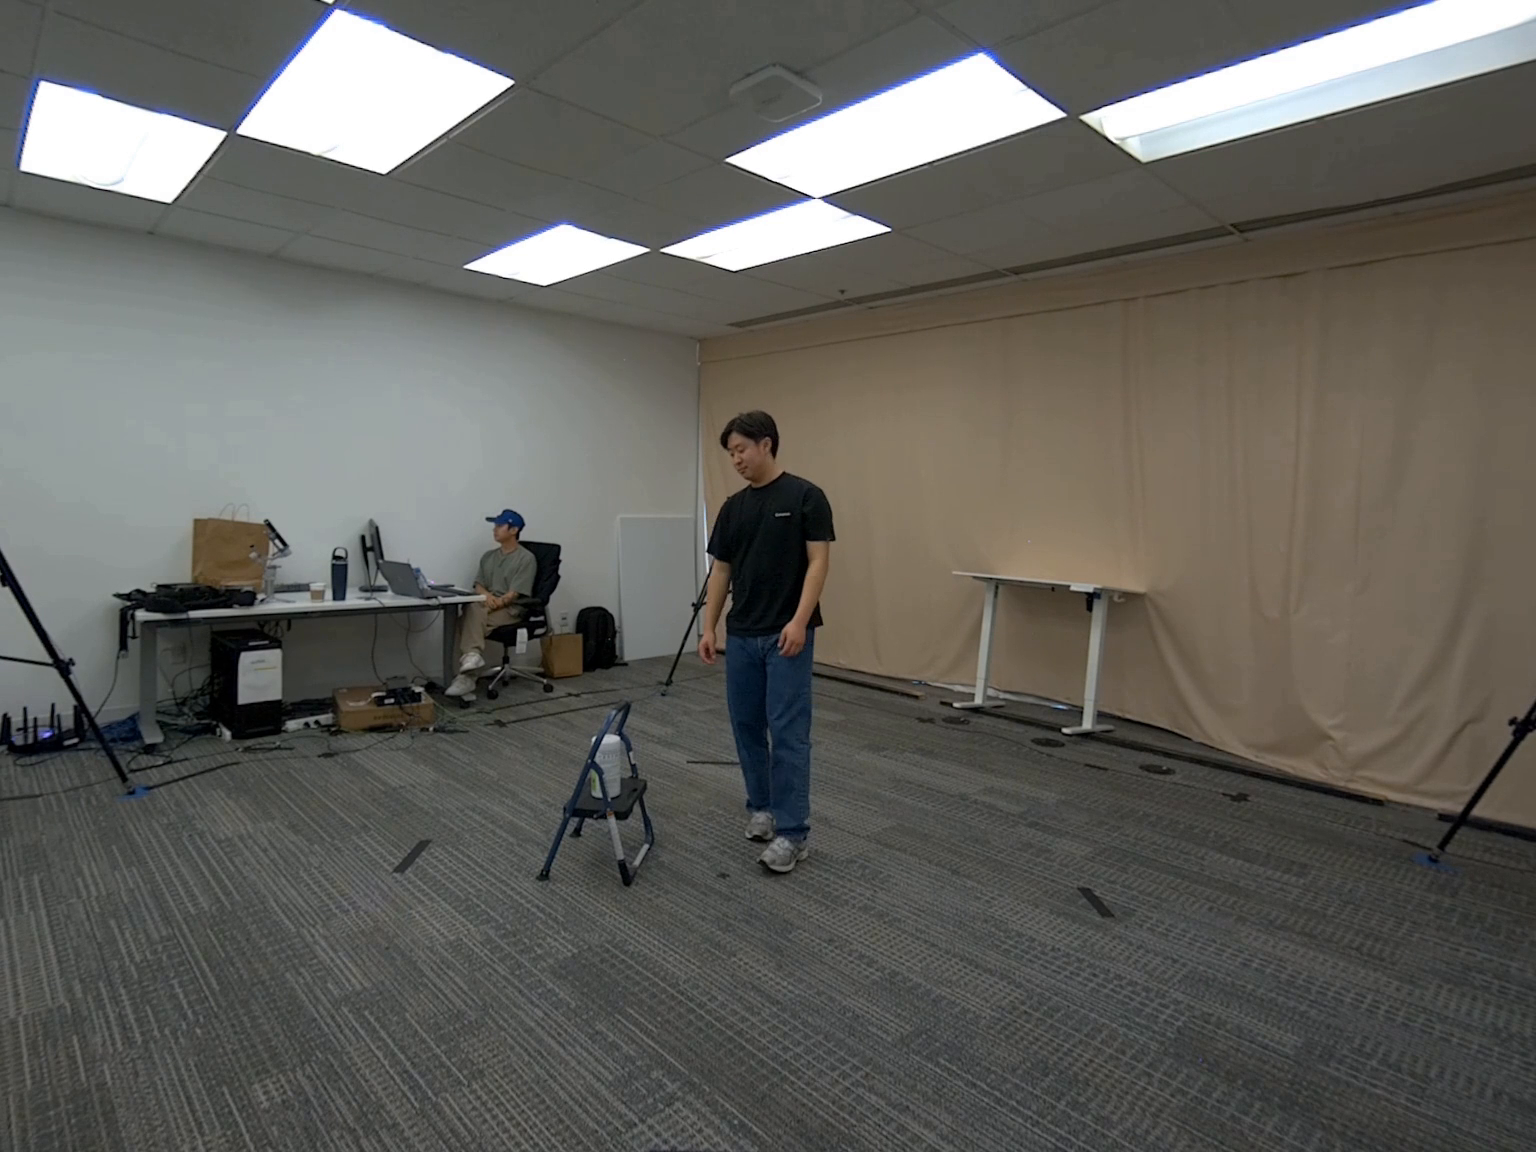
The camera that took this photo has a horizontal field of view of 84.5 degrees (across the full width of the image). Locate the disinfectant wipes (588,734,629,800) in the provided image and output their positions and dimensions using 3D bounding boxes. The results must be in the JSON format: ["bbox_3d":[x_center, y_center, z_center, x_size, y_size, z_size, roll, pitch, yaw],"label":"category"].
[{"bbox_3d":[-0.616,0.724,3.175,0.118,0.217,0.118,0,2,-1],"label":"disinfectant wipes"}]
